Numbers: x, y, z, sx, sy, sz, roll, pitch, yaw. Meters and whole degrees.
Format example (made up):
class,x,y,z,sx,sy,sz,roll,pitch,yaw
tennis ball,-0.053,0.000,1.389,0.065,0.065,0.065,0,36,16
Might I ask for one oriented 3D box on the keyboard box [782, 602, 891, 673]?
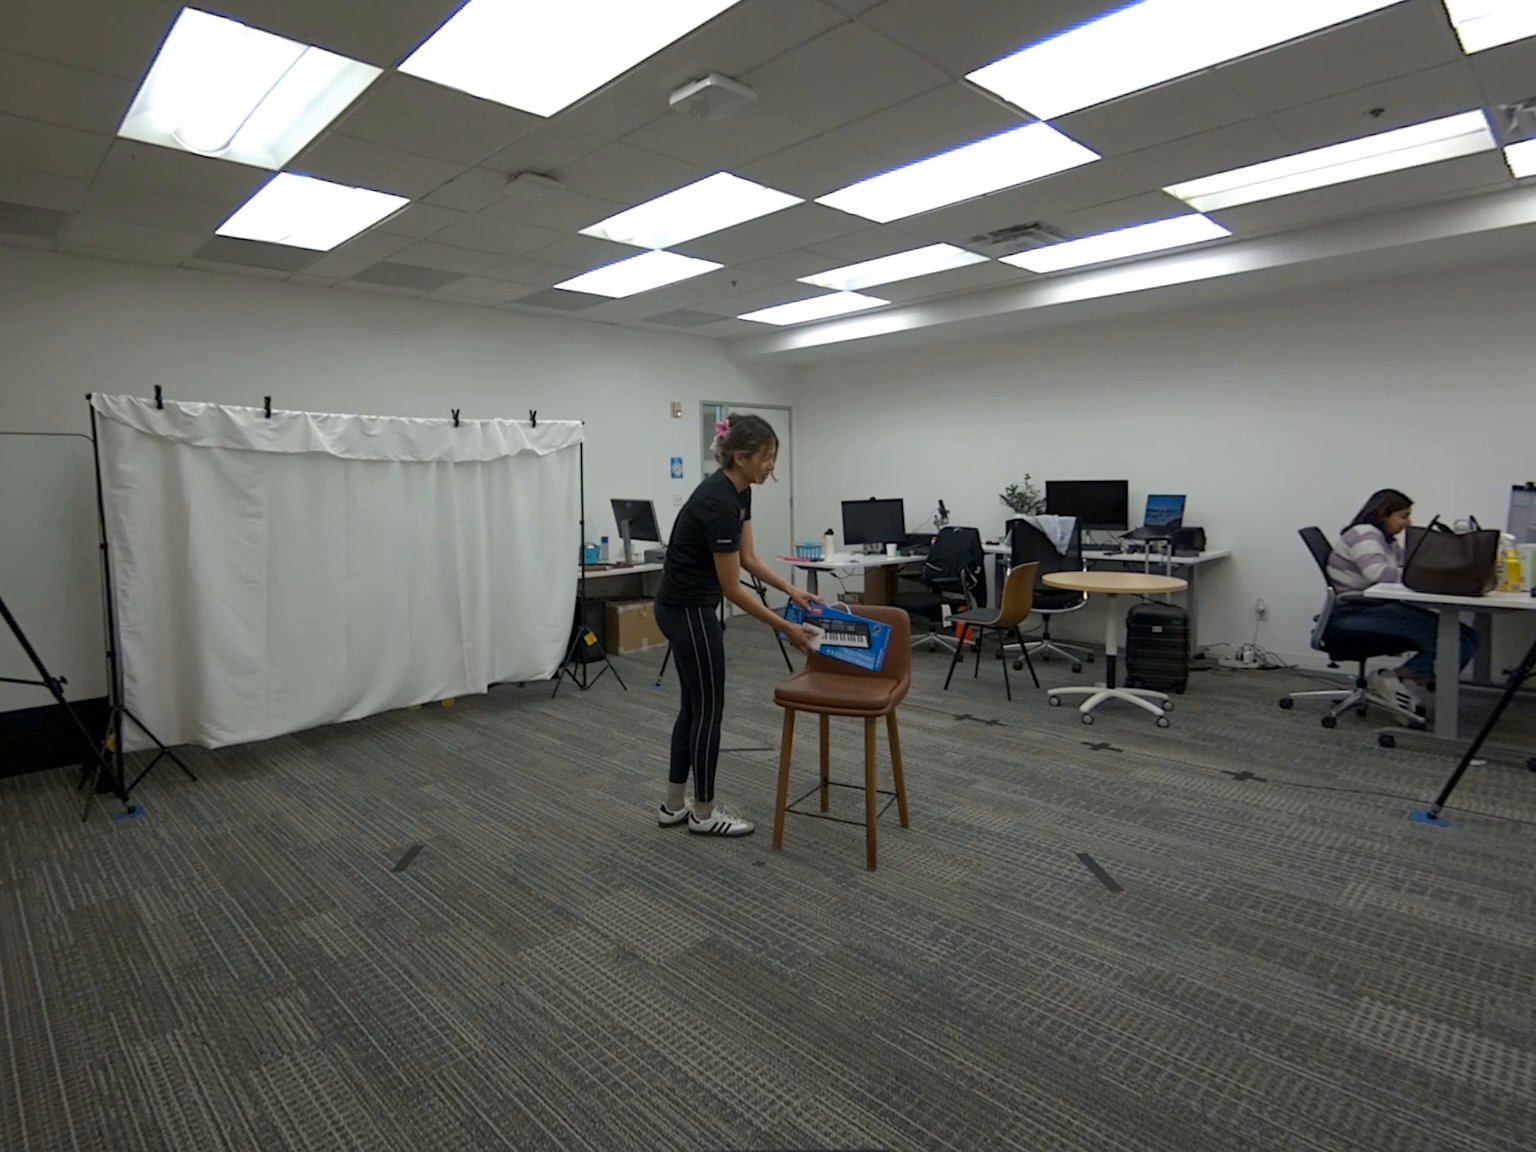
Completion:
class,x,y,z,sx,sy,sz,roll,pitch,yaw
keyboard box,0.242,0.217,3.243,0.452,0.176,0.057,15,-1,38
